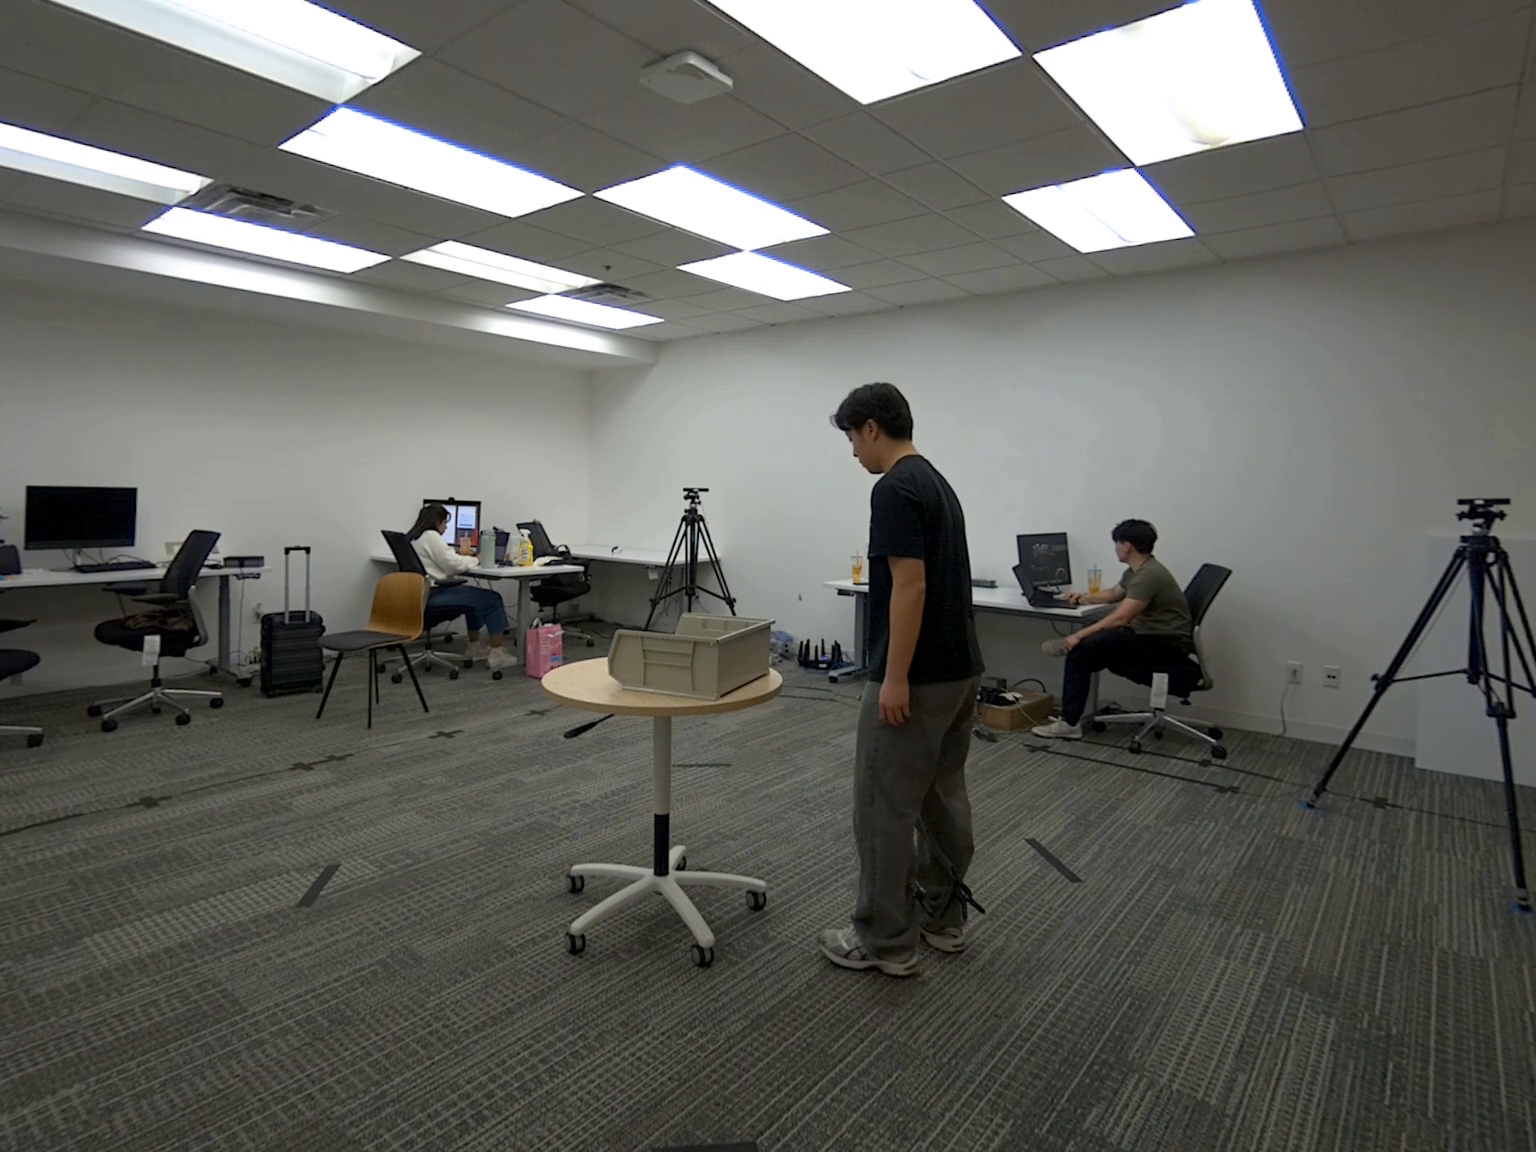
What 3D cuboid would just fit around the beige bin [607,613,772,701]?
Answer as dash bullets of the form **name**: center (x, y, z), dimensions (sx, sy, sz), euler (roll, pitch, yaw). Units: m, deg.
- **beige bin**: center (-0.239, 0.239, 2.668), dimensions (0.387, 0.188, 0.413), euler (4, 5, 24)
